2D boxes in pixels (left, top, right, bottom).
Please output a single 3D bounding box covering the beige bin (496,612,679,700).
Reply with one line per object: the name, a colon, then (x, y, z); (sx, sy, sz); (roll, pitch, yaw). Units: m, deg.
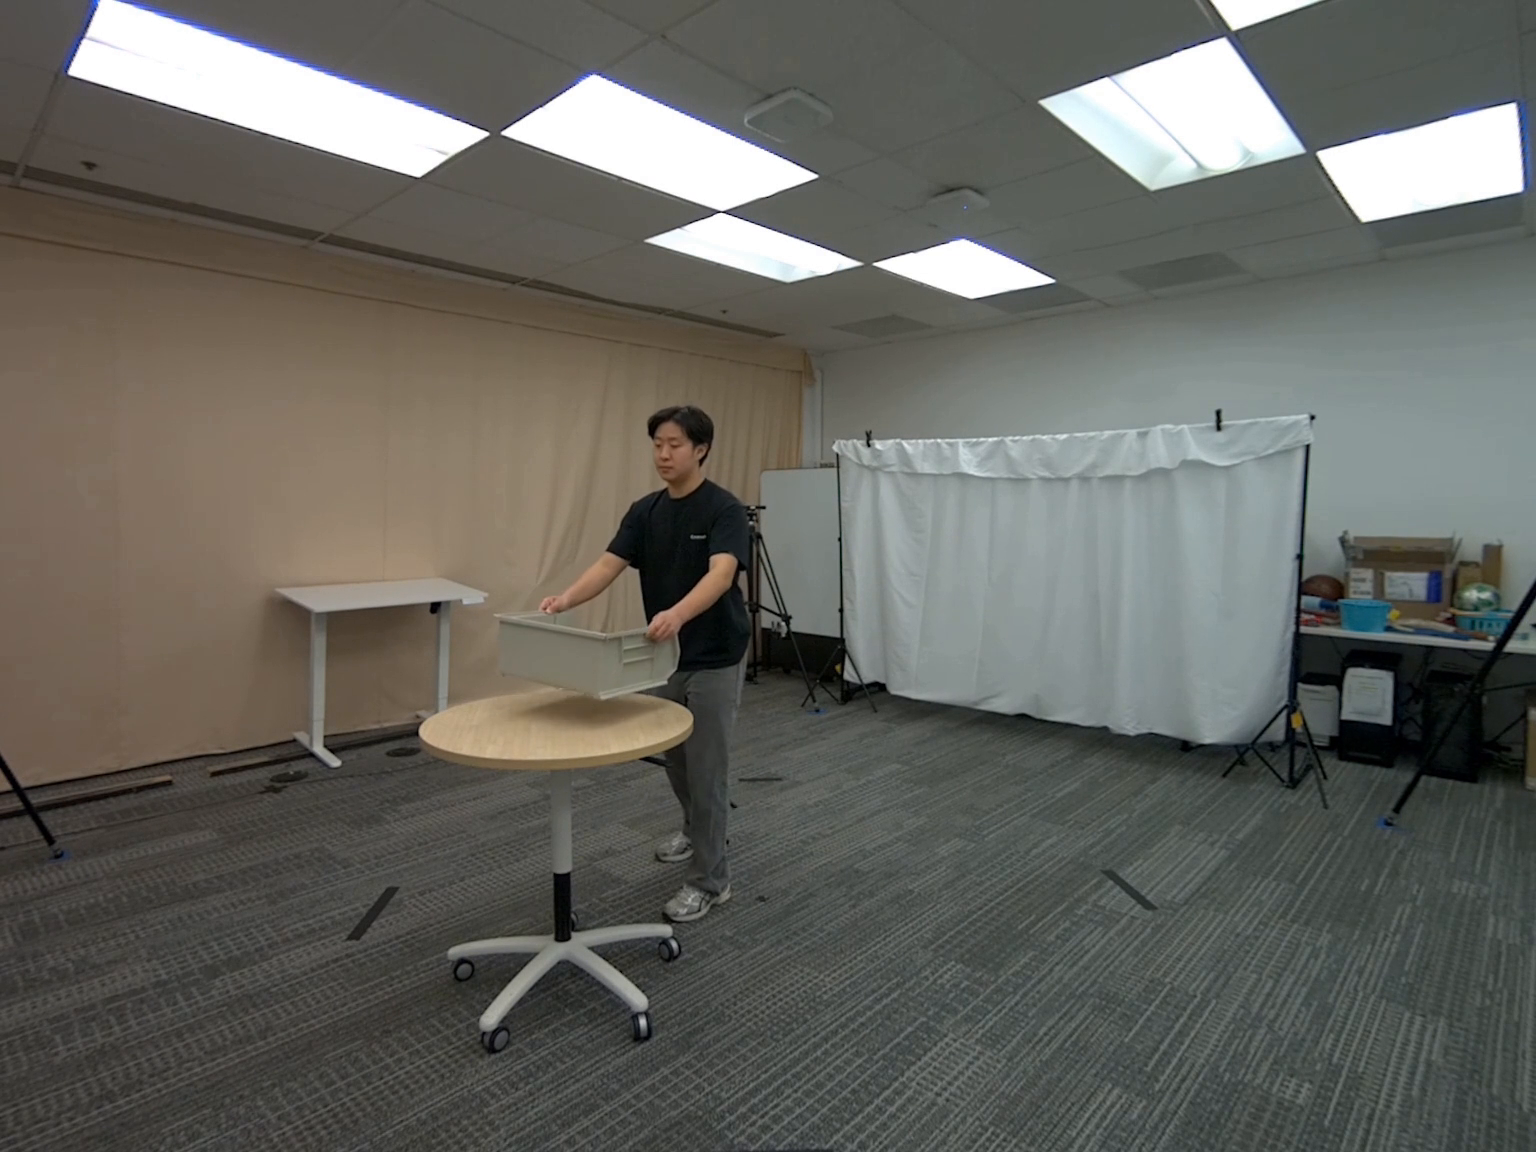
beige bin: (-0.542, 0.219, 2.513); (0.435, 0.188, 0.367); (6, 6, 30)
